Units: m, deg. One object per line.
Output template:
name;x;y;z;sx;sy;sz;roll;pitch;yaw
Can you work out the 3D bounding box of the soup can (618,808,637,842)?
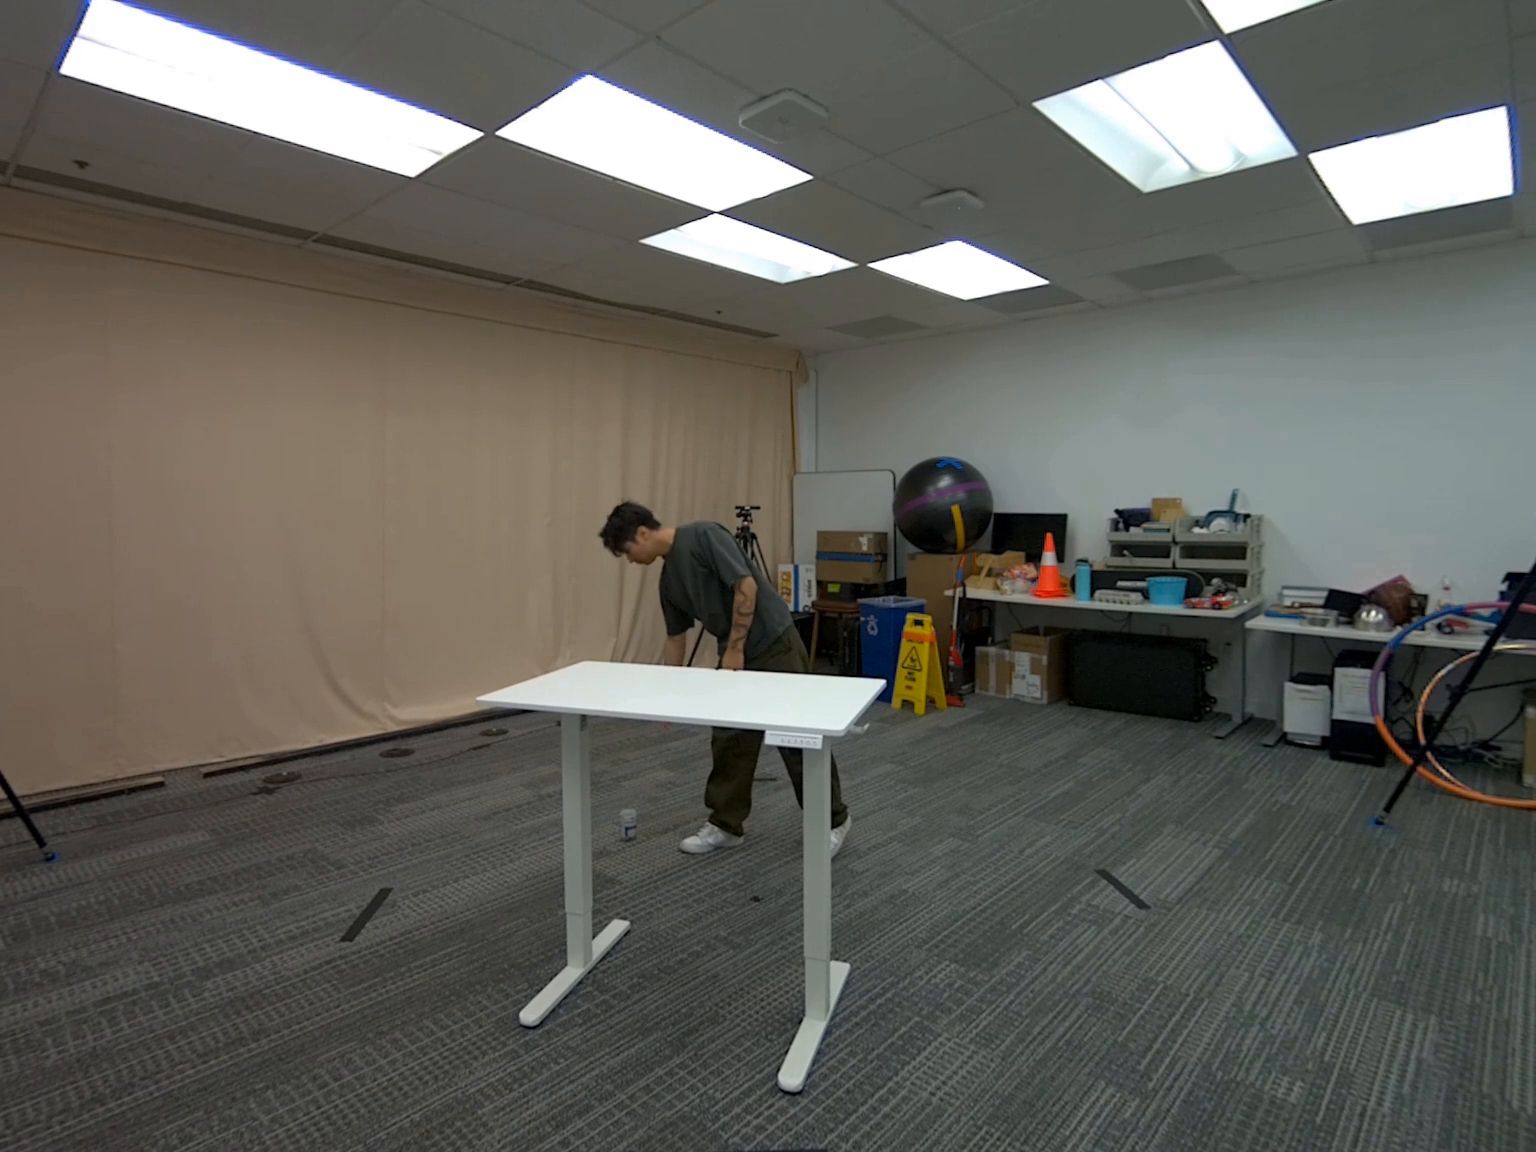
soup can;-0.583;1.051;3.525;0.067;0.121;0.067;-1;2;-2
